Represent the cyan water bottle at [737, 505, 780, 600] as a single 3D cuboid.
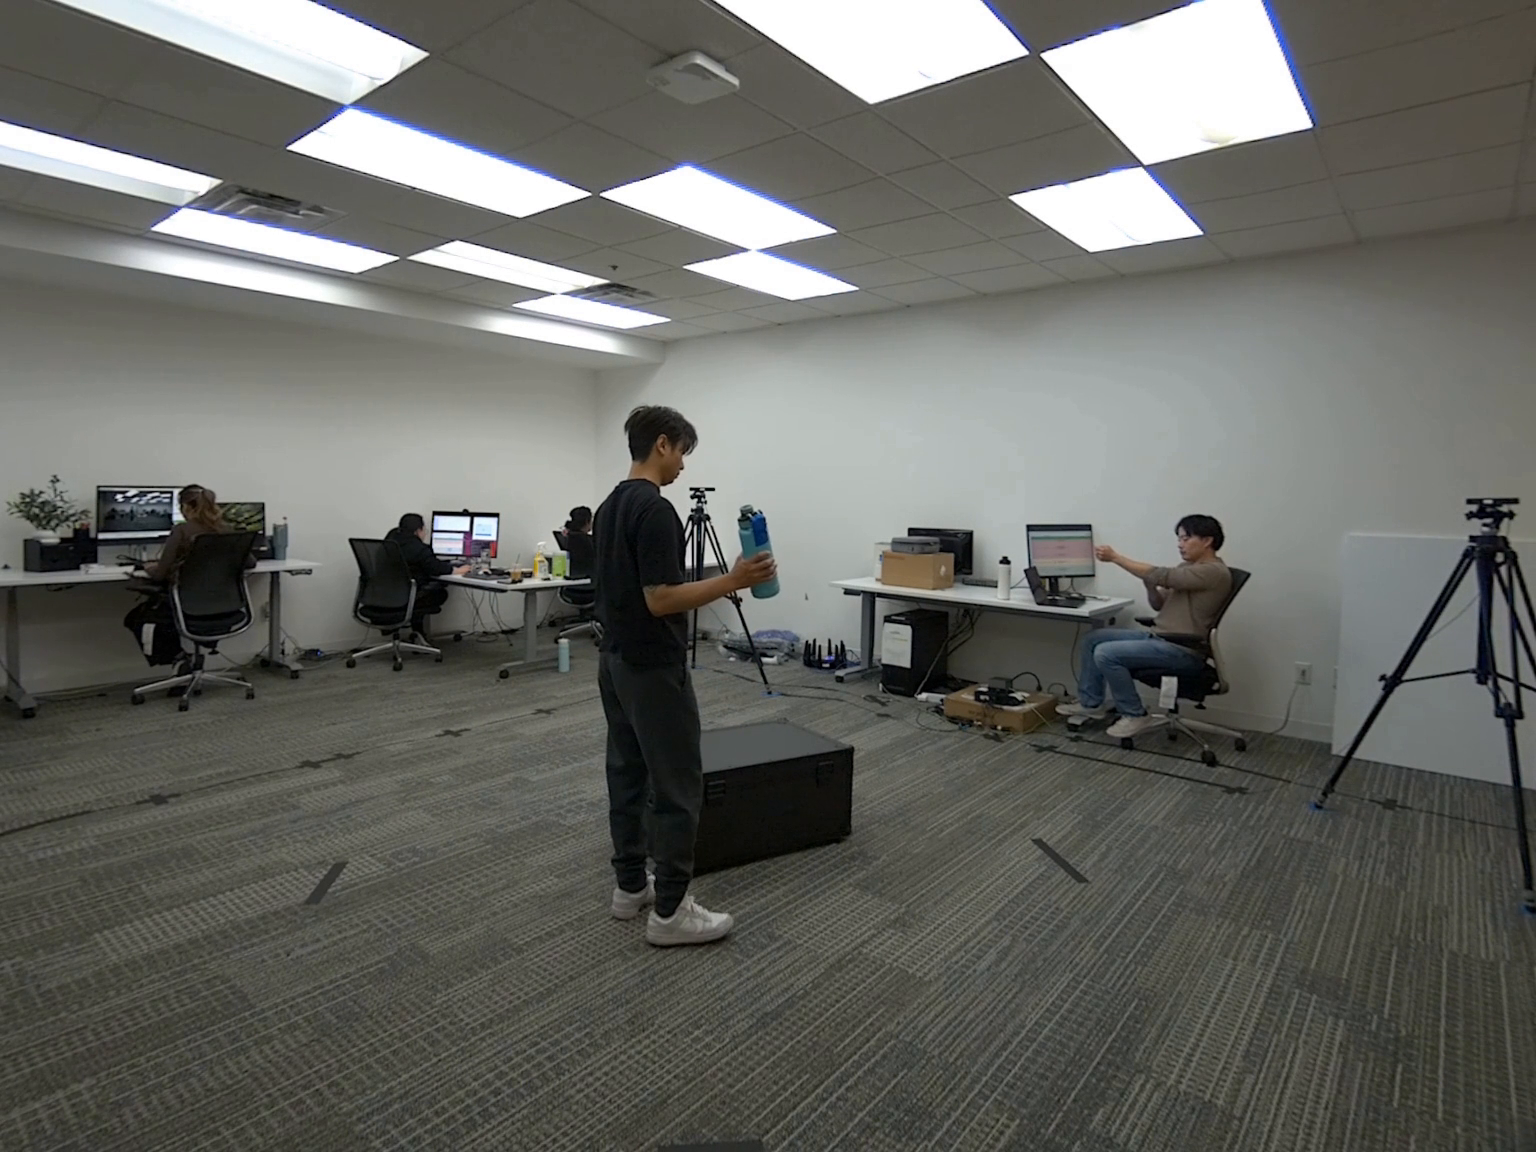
[{"bbox_3d":[-0.041,-0.076,2.557,0.092,0.278,0.094,-9,18,2],"label":"cyan water bottle"}]
